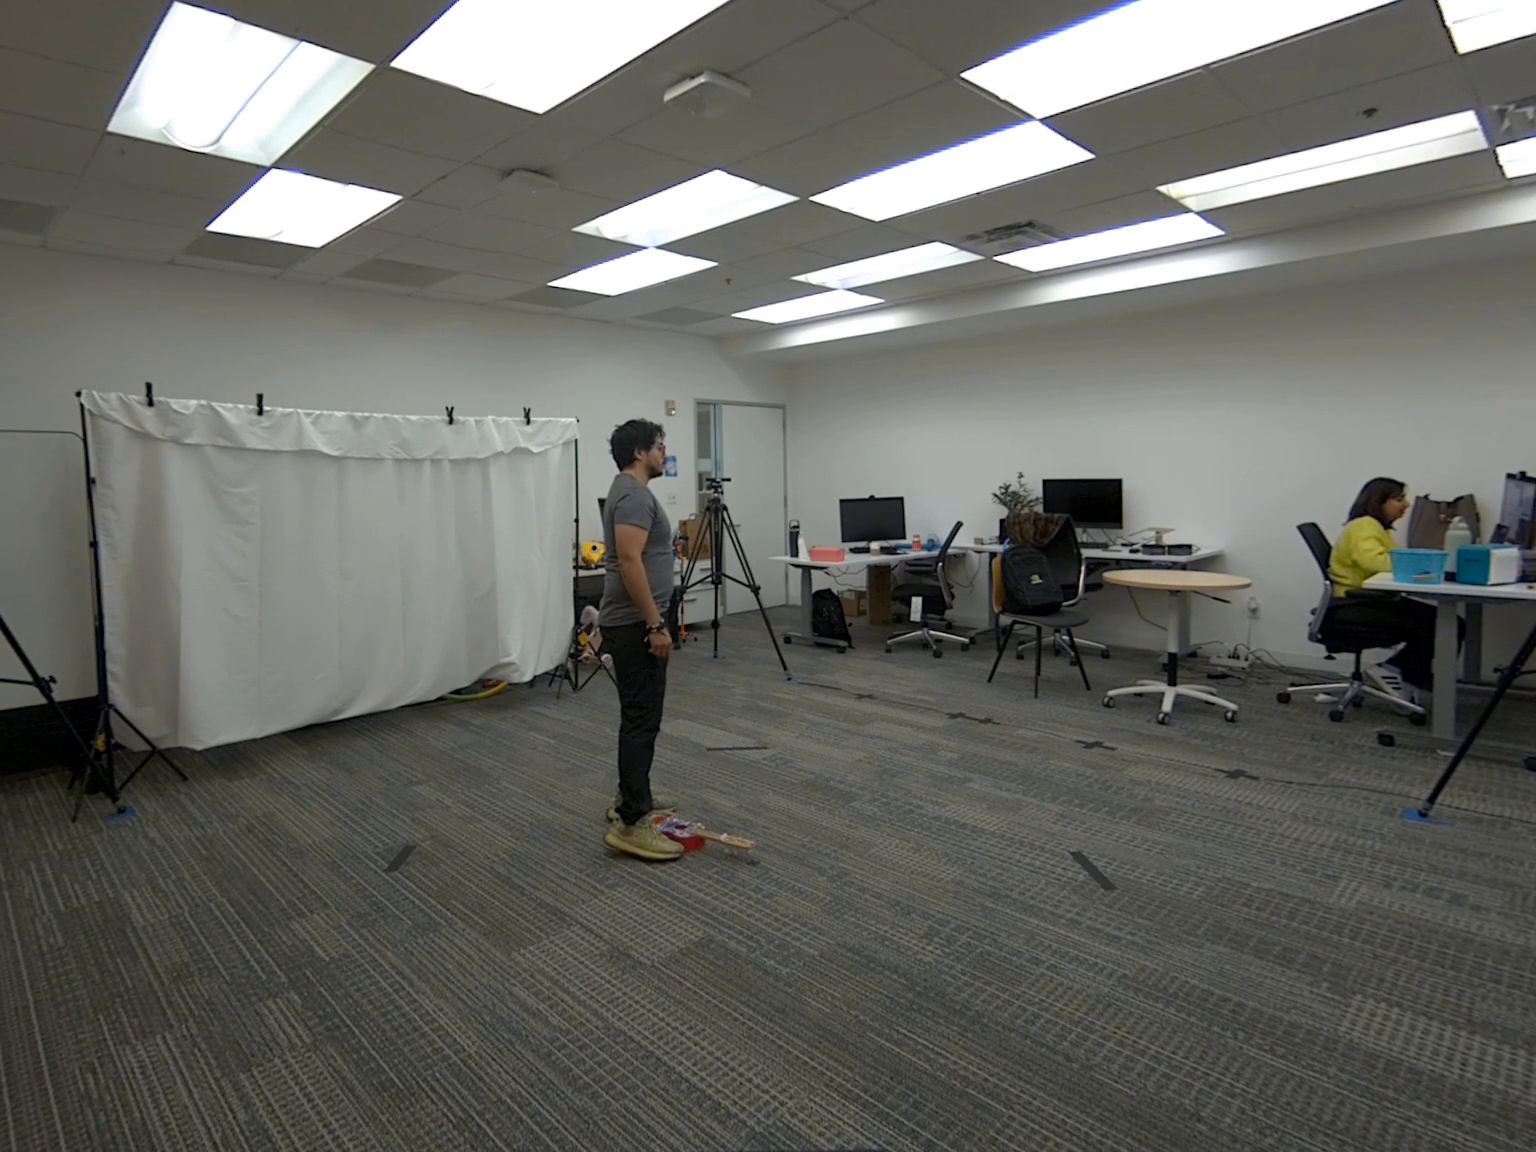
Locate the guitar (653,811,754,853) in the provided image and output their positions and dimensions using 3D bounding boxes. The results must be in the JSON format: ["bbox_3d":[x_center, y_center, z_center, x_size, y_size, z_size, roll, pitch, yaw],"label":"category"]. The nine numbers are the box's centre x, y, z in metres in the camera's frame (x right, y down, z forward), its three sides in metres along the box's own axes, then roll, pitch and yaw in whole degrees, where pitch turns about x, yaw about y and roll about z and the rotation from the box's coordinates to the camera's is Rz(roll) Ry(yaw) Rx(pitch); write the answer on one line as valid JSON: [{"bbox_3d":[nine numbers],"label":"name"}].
[{"bbox_3d":[-0.287,0.999,3.227,0.513,0.070,0.188,4,8,40],"label":"guitar"}]
